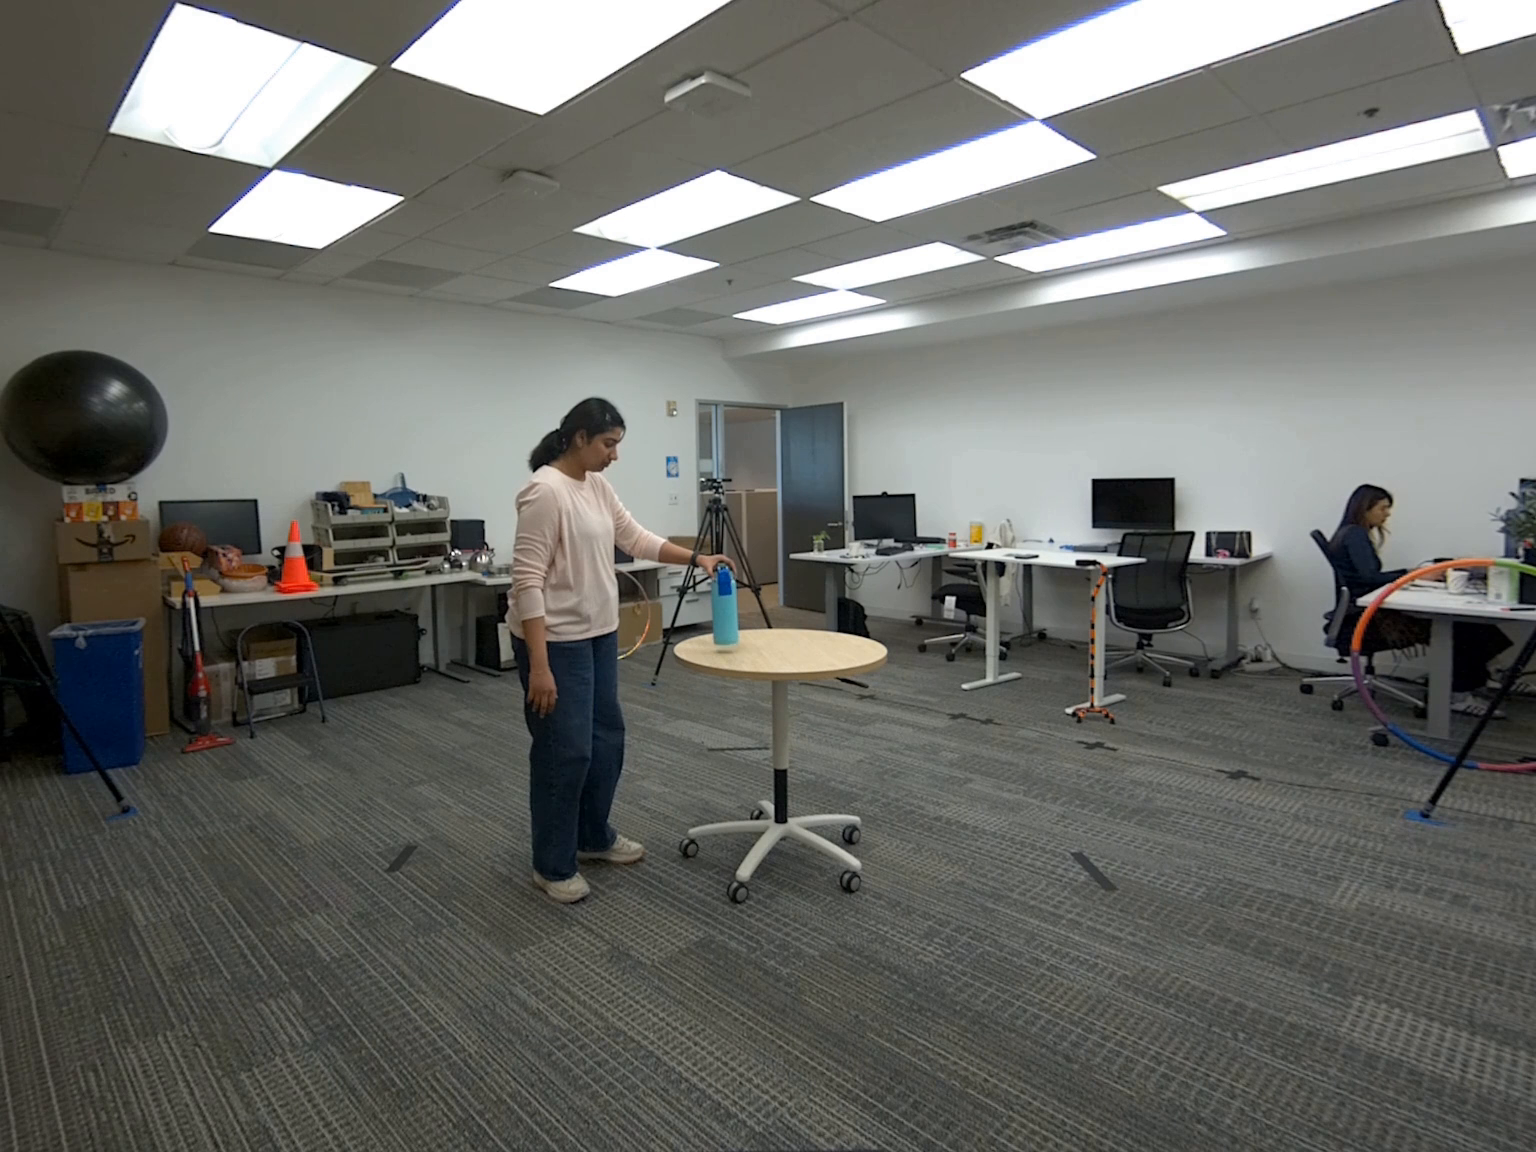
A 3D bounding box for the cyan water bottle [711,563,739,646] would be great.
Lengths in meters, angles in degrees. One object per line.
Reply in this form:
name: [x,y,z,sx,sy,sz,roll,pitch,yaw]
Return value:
cyan water bottle: [-0.154,0.097,3.015,0.092,0.283,0.092,-3,3,-1]
